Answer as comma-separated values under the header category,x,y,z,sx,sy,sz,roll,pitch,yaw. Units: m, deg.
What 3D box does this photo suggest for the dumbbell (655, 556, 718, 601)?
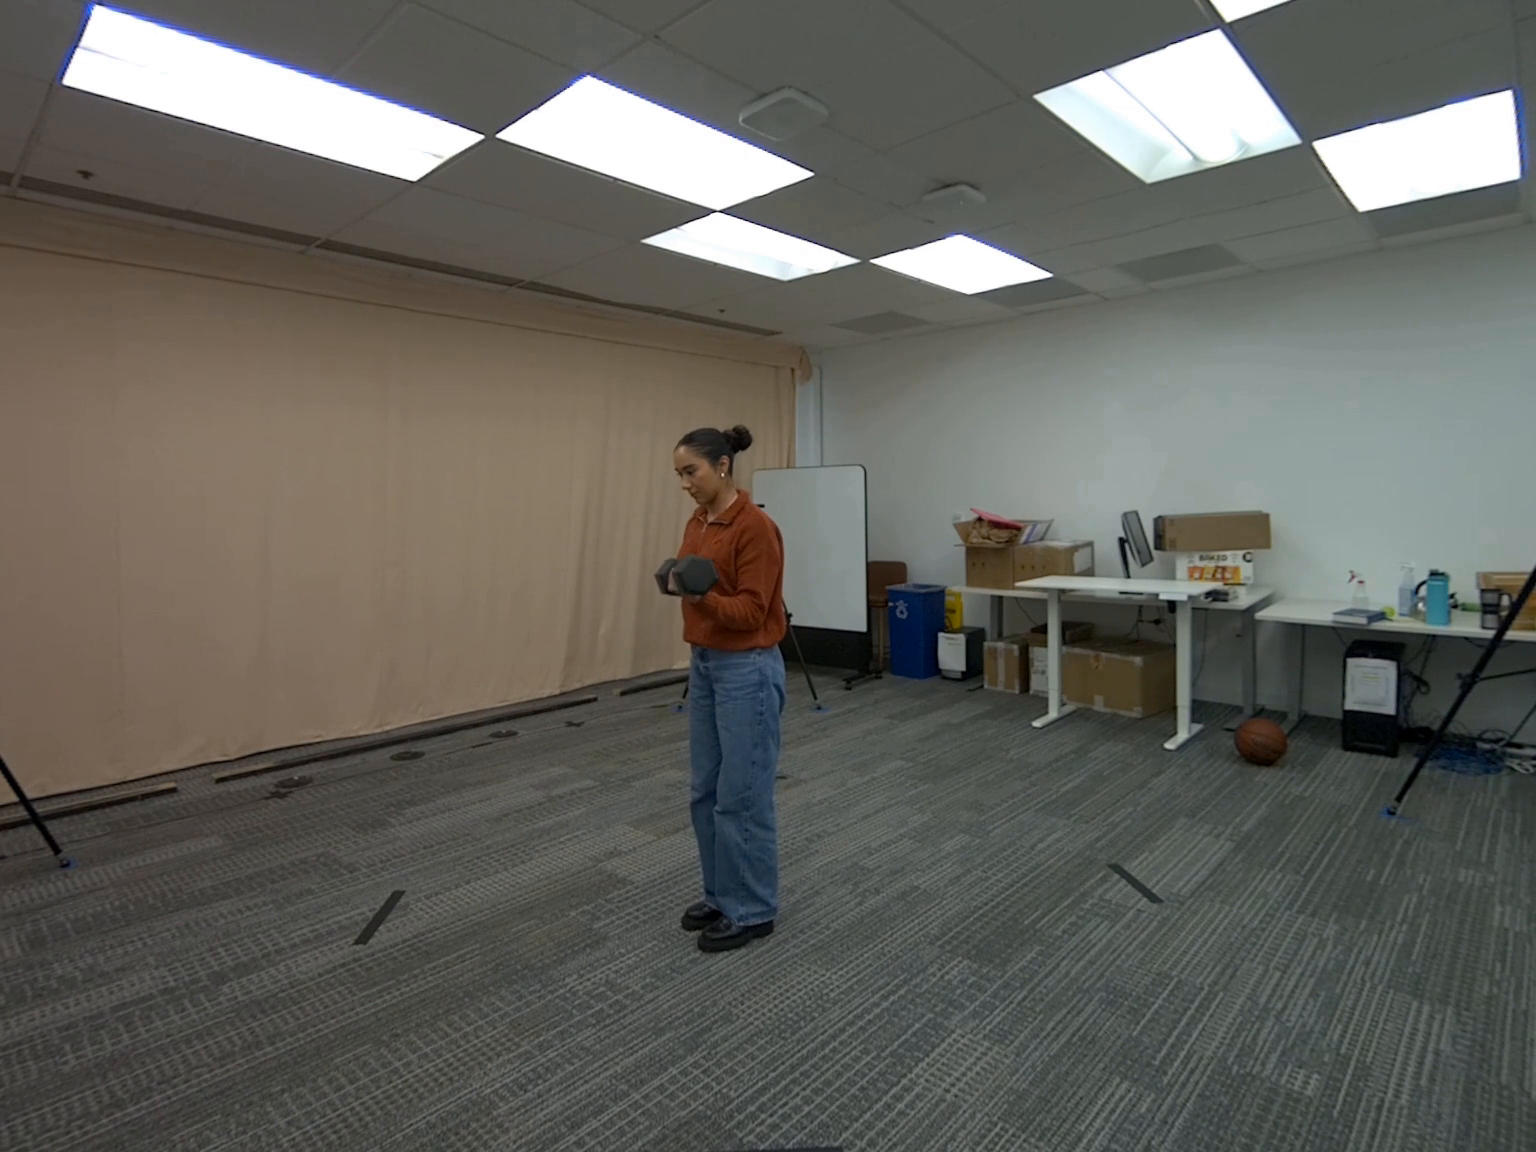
category,x,y,z,sx,sy,sz,roll,pitch,yaw
dumbbell,-0.237,0.007,2.447,0.107,0.122,0.299,-23,7,-20
